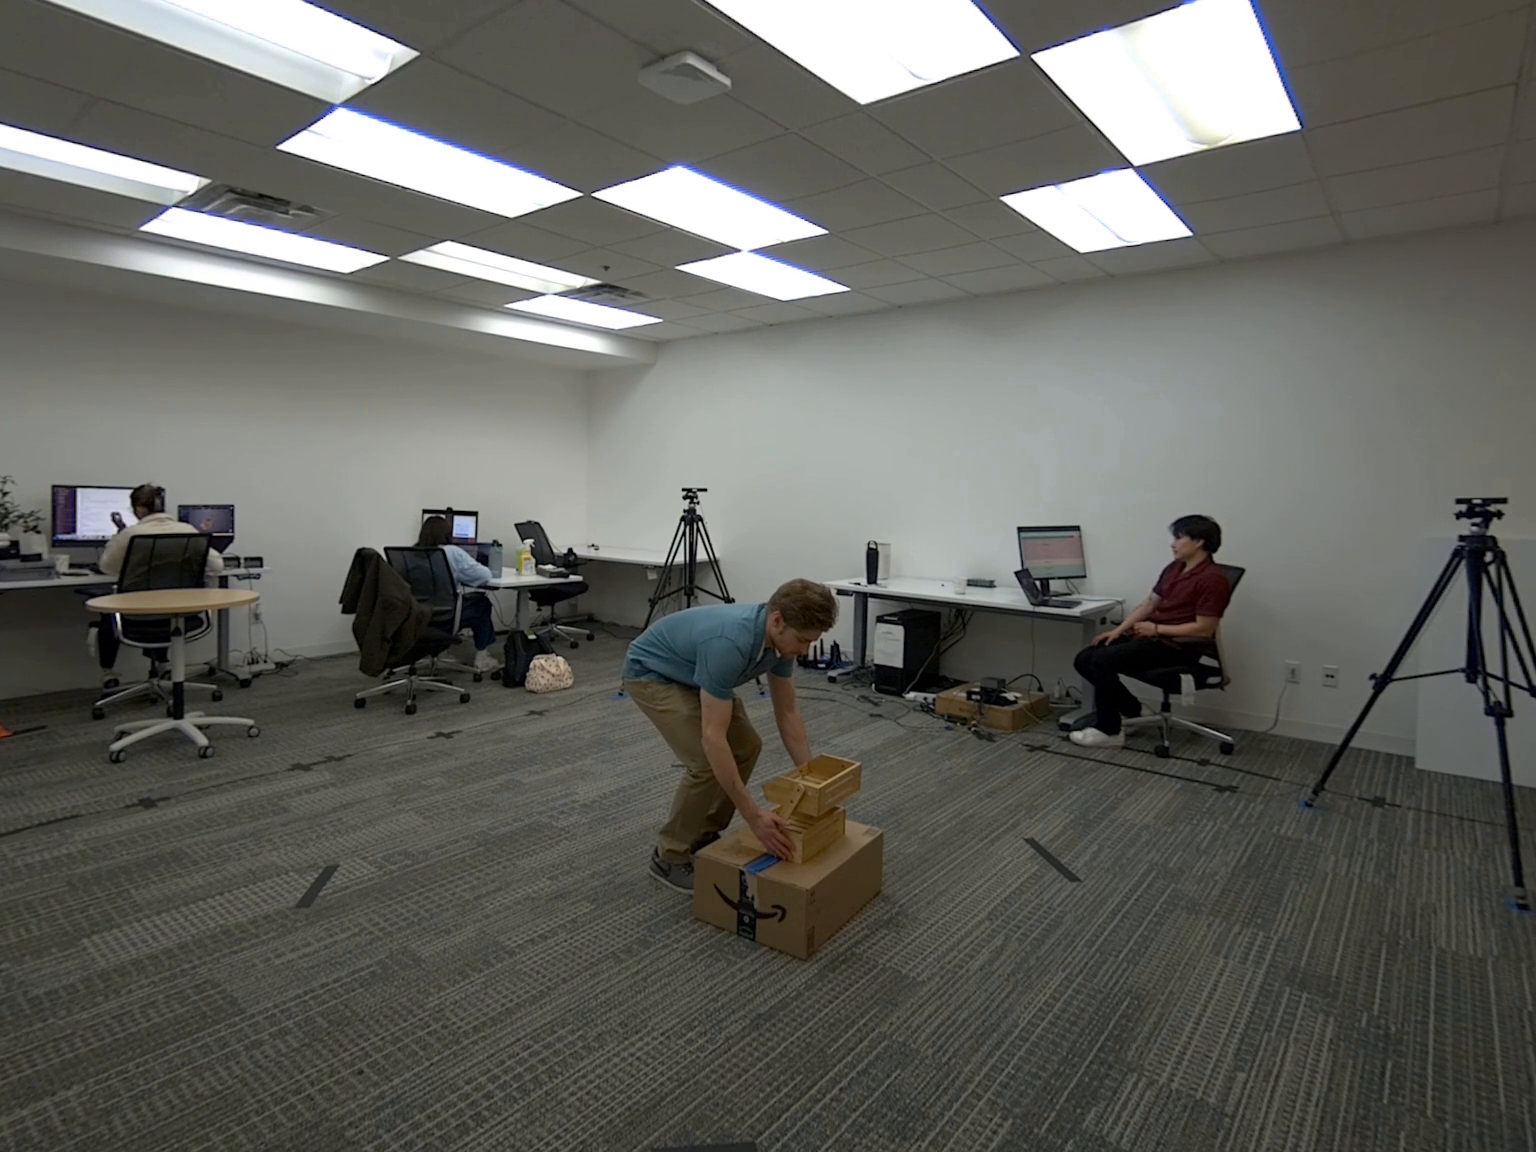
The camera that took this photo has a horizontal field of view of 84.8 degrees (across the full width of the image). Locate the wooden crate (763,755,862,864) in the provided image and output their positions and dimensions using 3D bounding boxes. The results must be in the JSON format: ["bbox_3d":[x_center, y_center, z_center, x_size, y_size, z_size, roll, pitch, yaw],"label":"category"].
[{"bbox_3d":[0.101,0.754,2.863,0.312,0.272,0.316,6,7,33],"label":"wooden crate"}]
